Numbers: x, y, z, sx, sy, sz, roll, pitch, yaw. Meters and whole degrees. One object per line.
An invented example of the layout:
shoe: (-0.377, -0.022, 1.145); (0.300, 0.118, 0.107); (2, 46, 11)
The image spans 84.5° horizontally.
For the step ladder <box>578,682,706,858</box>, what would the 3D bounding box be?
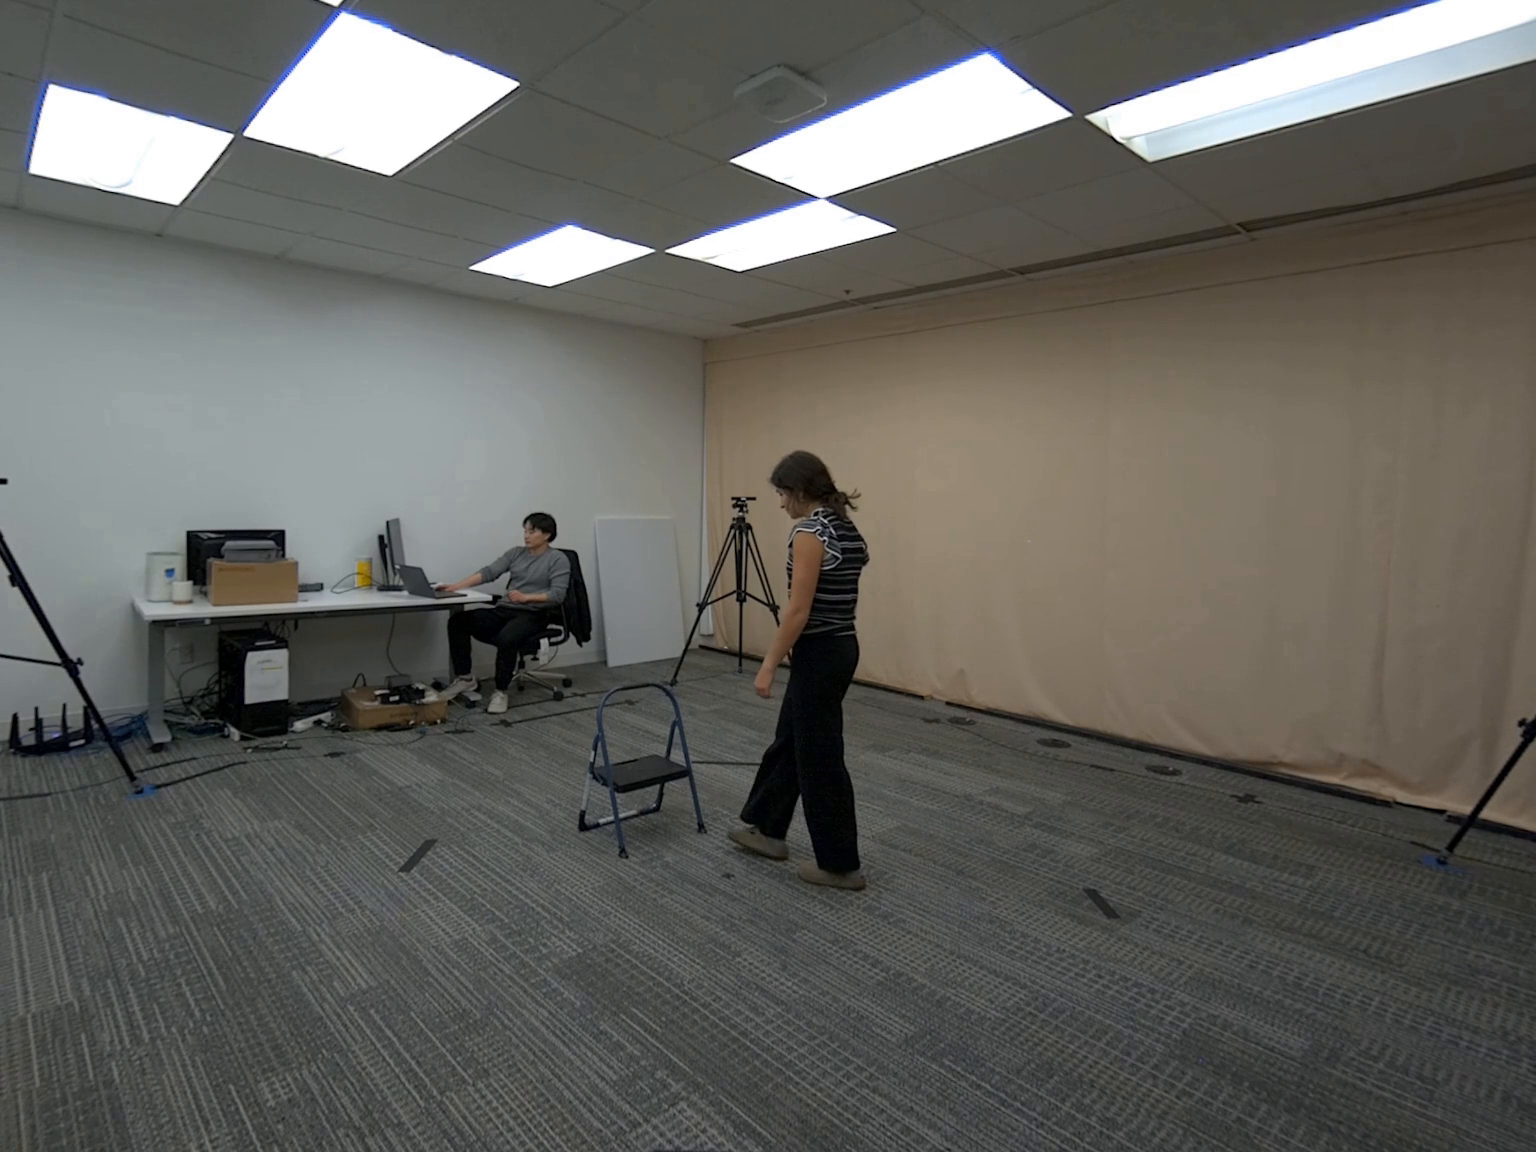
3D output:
step ladder: (-0.524, 0.763, 3.488); (0.421, 0.605, 0.358); (-1, 5, -43)
